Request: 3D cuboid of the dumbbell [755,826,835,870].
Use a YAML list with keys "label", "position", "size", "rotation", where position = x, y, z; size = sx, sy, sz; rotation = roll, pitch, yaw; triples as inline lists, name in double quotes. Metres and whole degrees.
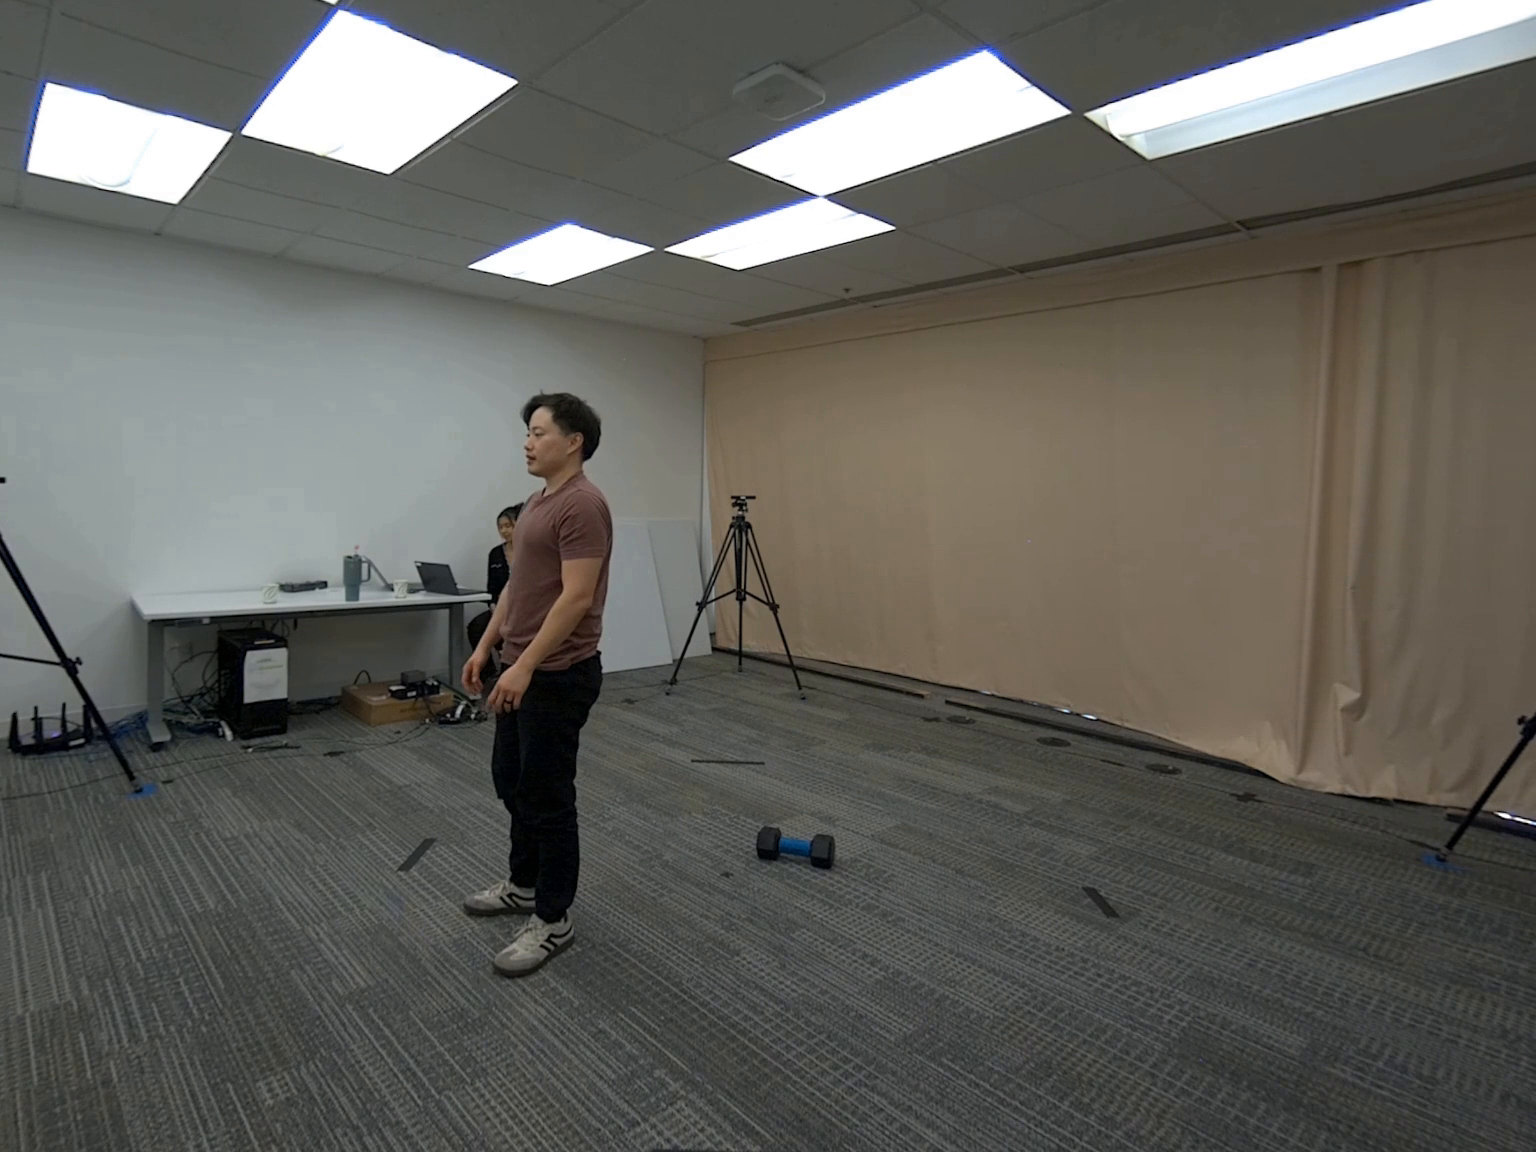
- label: "dumbbell"
  position: [0.100, 1.040, 3.234]
  size: [0.298, 0.120, 0.110]
  rotation: [3, 36, 18]
